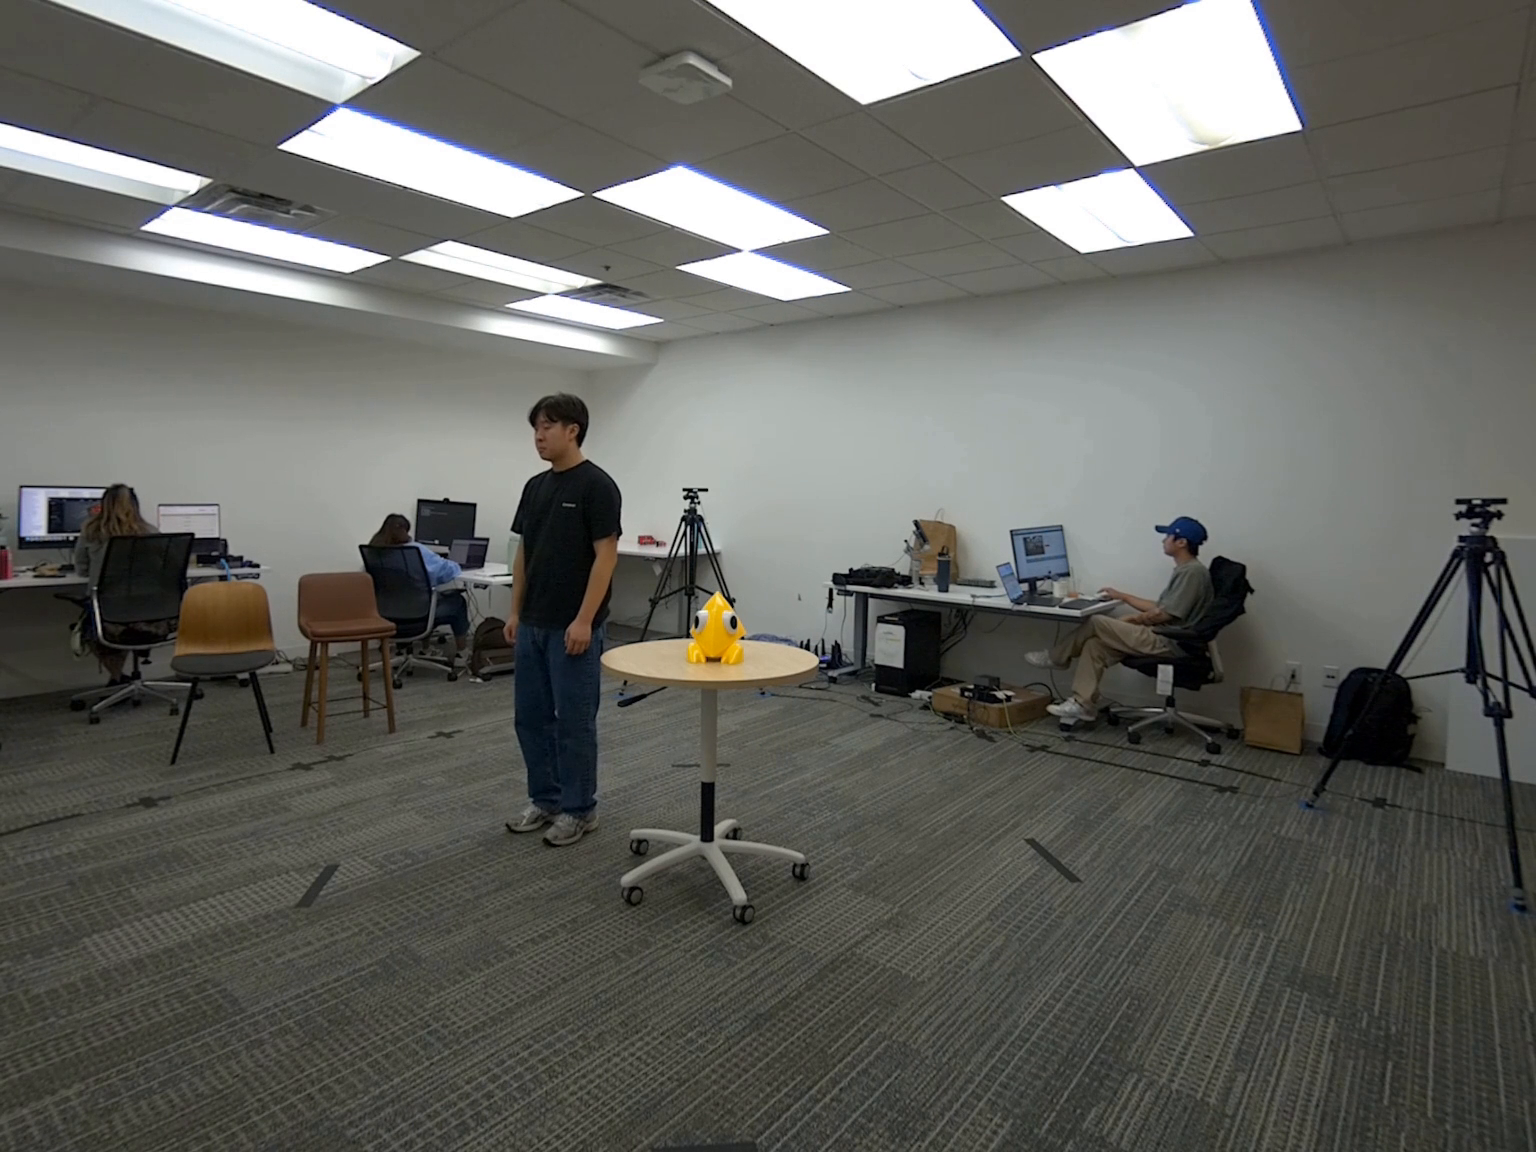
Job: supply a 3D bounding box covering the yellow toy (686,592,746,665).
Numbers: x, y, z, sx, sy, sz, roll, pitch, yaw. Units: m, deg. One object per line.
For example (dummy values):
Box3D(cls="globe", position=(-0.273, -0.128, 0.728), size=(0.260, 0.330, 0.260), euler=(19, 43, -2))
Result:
Box3D(cls="yellow toy", position=(-0.193, 0.172, 2.962), size=(0.206, 0.230, 0.193), euler=(1, 4, 4))
